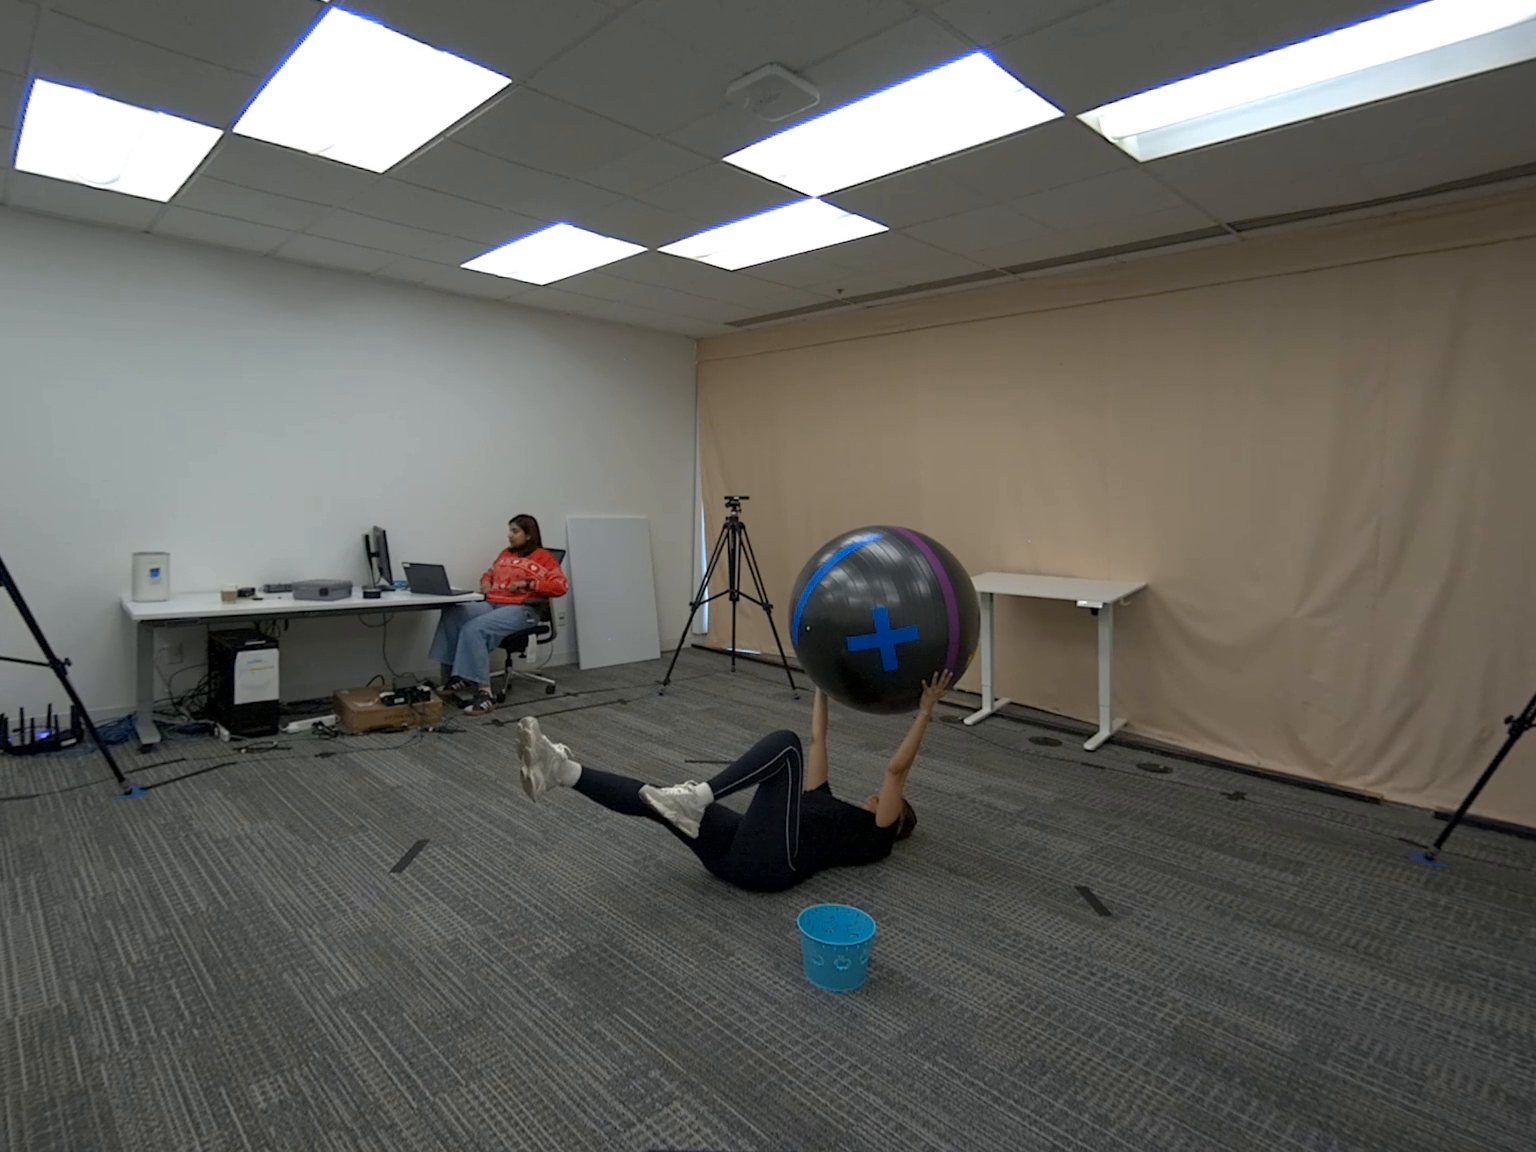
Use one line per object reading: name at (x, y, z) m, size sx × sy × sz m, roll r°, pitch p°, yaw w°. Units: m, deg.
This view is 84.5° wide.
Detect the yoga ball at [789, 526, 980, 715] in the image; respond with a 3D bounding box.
yoga ball at (0.459, 0.178, 3.385) m, size 0.757 × 0.754 × 0.762 m, roll 0°, pitch 7°, yaw -1°
